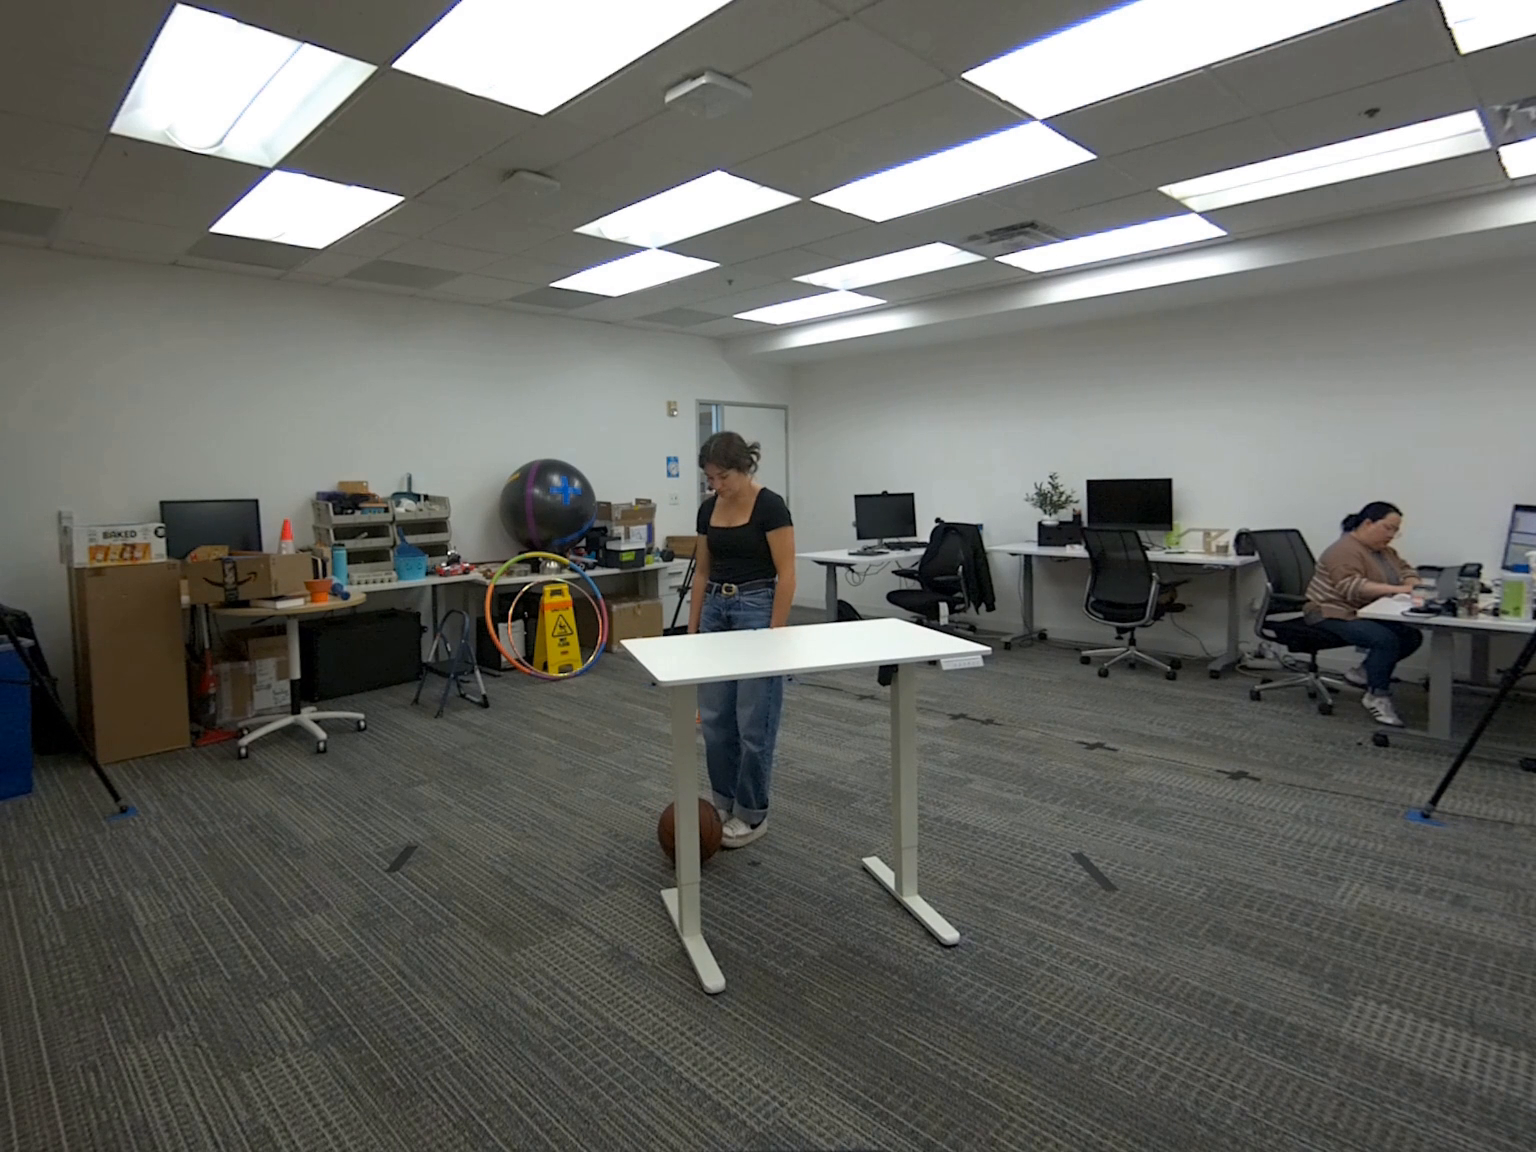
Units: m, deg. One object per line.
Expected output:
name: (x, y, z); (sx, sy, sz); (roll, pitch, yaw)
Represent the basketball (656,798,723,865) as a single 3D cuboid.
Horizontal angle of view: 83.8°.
basketball: (-0.281, 0.923, 3.119); (0.236, 0.235, 0.237); (-1, 5, -2)
